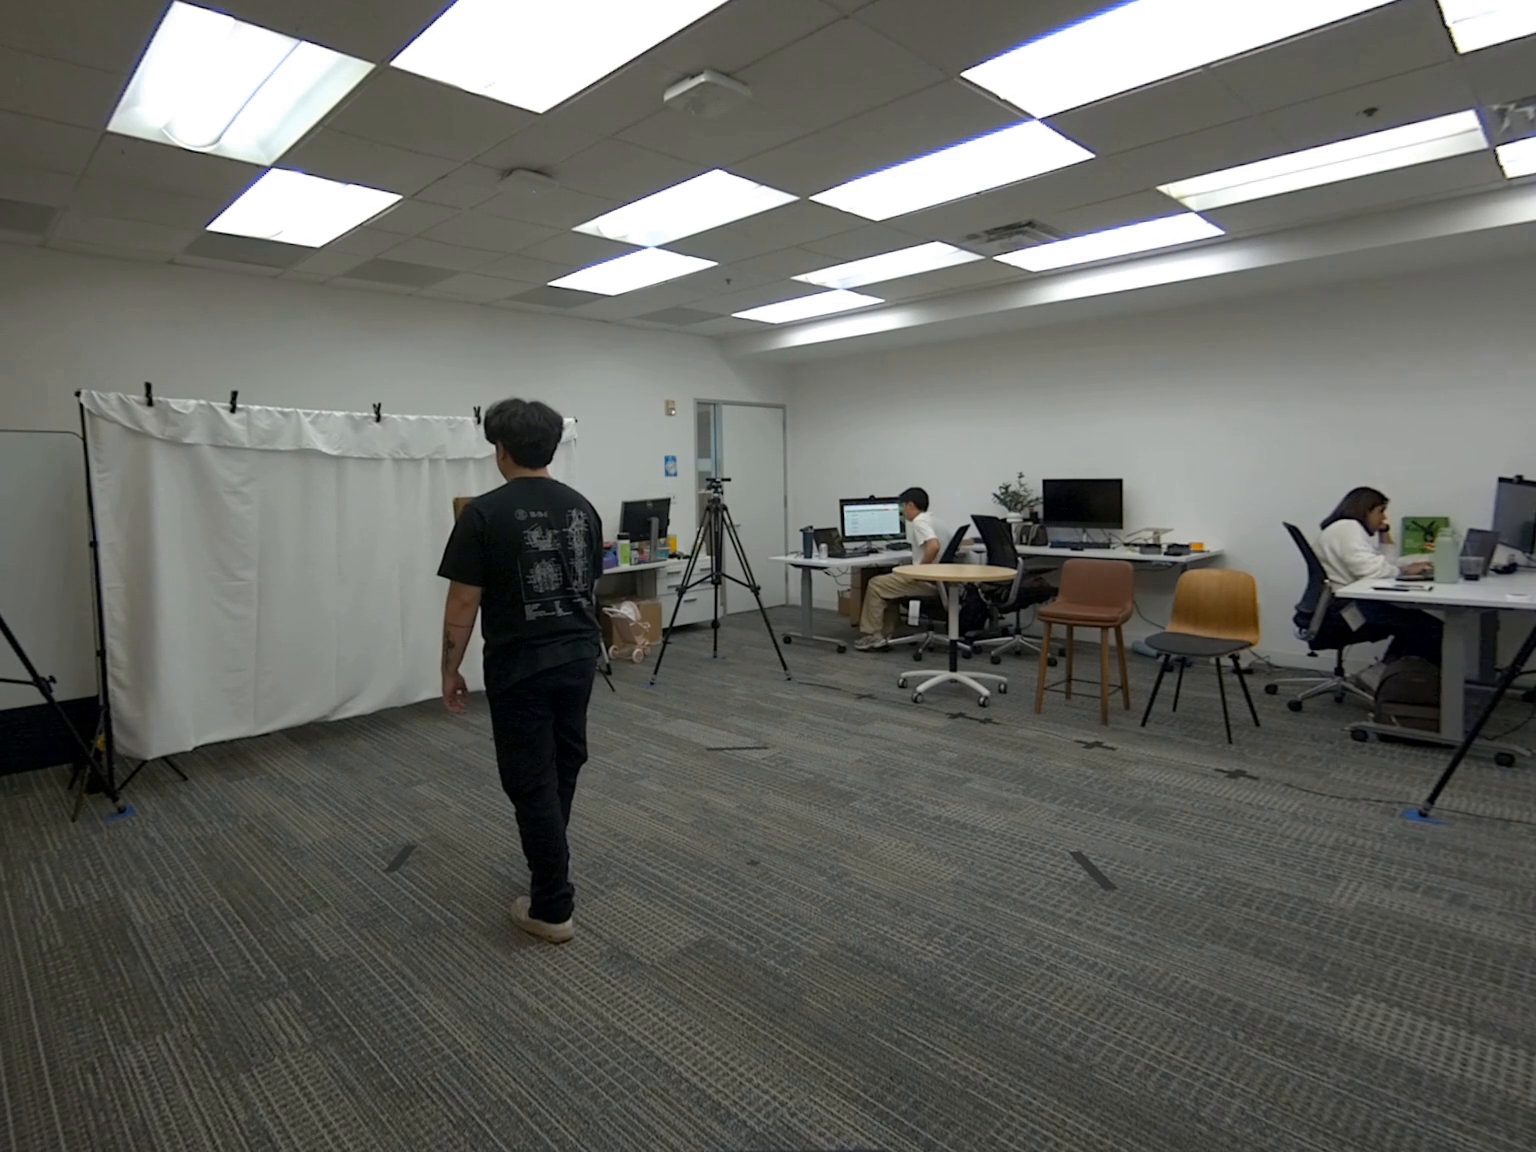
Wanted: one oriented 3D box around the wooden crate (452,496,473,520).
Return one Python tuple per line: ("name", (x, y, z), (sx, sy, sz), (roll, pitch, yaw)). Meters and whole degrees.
("wooden crate", (-0.949, -0.182, 3.080), (0.320, 0.271, 0.309), (-4, 11, -16))
